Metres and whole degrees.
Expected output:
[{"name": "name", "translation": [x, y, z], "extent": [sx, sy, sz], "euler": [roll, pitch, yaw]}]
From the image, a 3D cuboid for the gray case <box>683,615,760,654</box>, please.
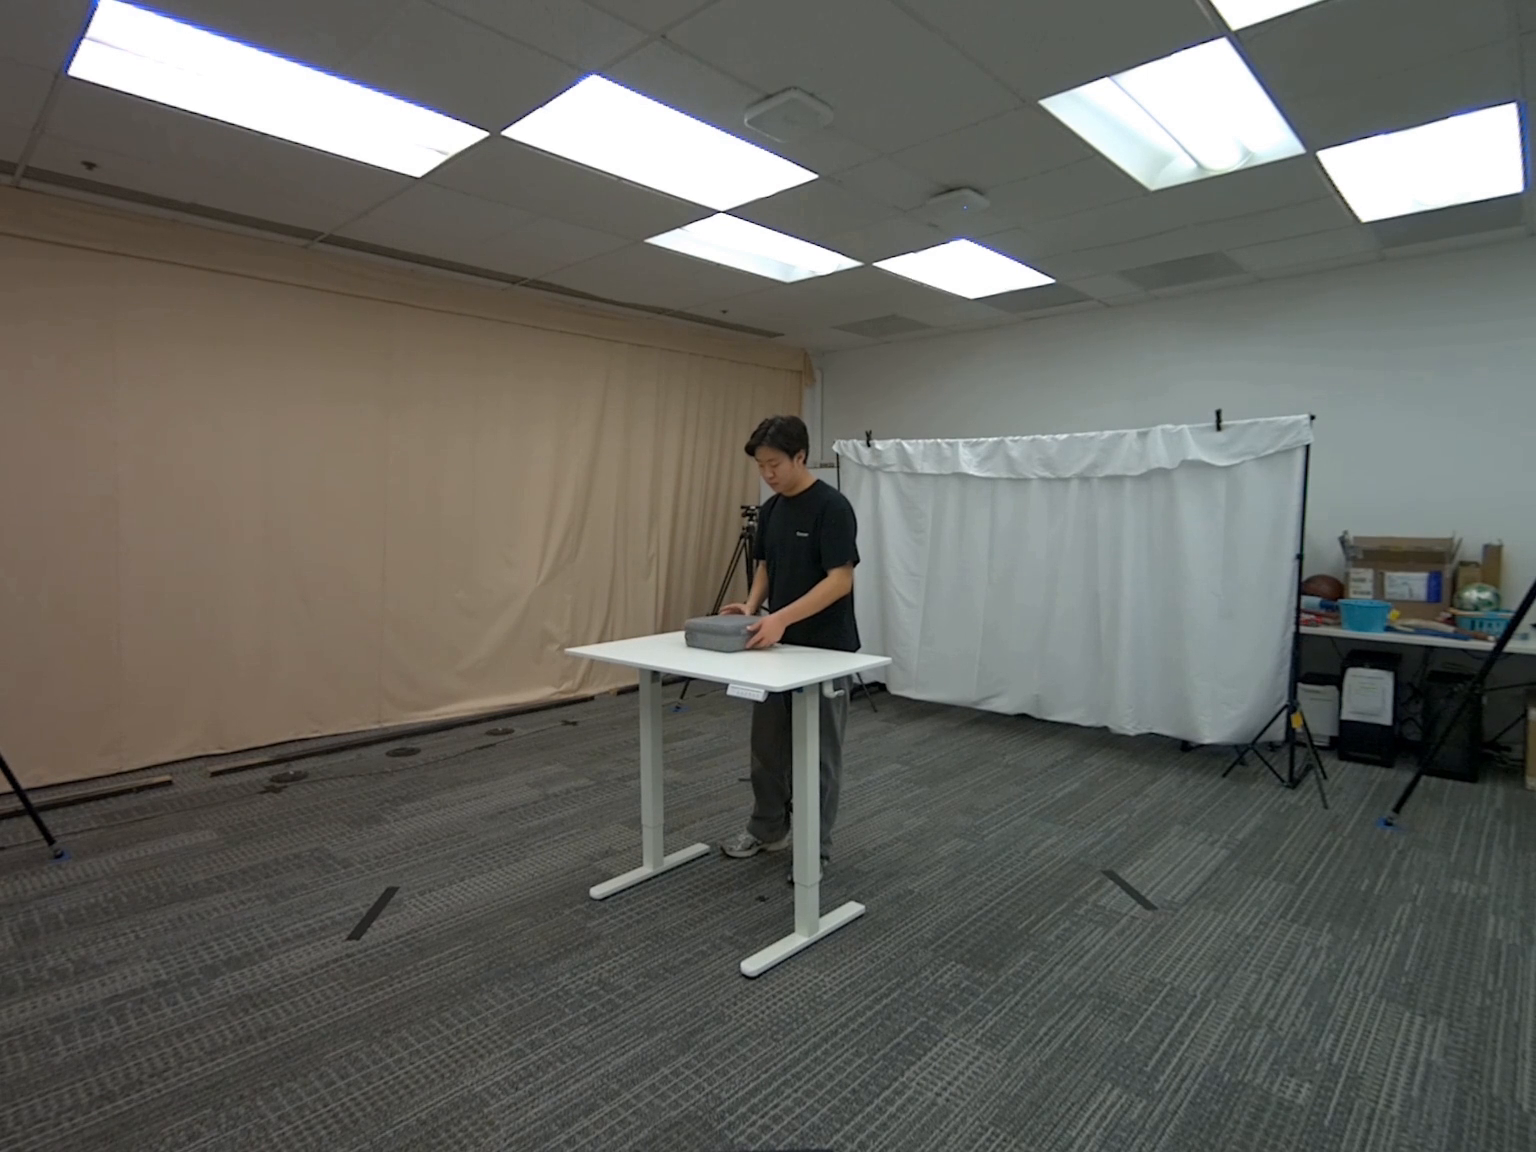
[{"name": "gray case", "translation": [-0.149, 0.207, 3.063], "extent": [0.269, 0.104, 0.249], "euler": [3, 6, 44]}]
